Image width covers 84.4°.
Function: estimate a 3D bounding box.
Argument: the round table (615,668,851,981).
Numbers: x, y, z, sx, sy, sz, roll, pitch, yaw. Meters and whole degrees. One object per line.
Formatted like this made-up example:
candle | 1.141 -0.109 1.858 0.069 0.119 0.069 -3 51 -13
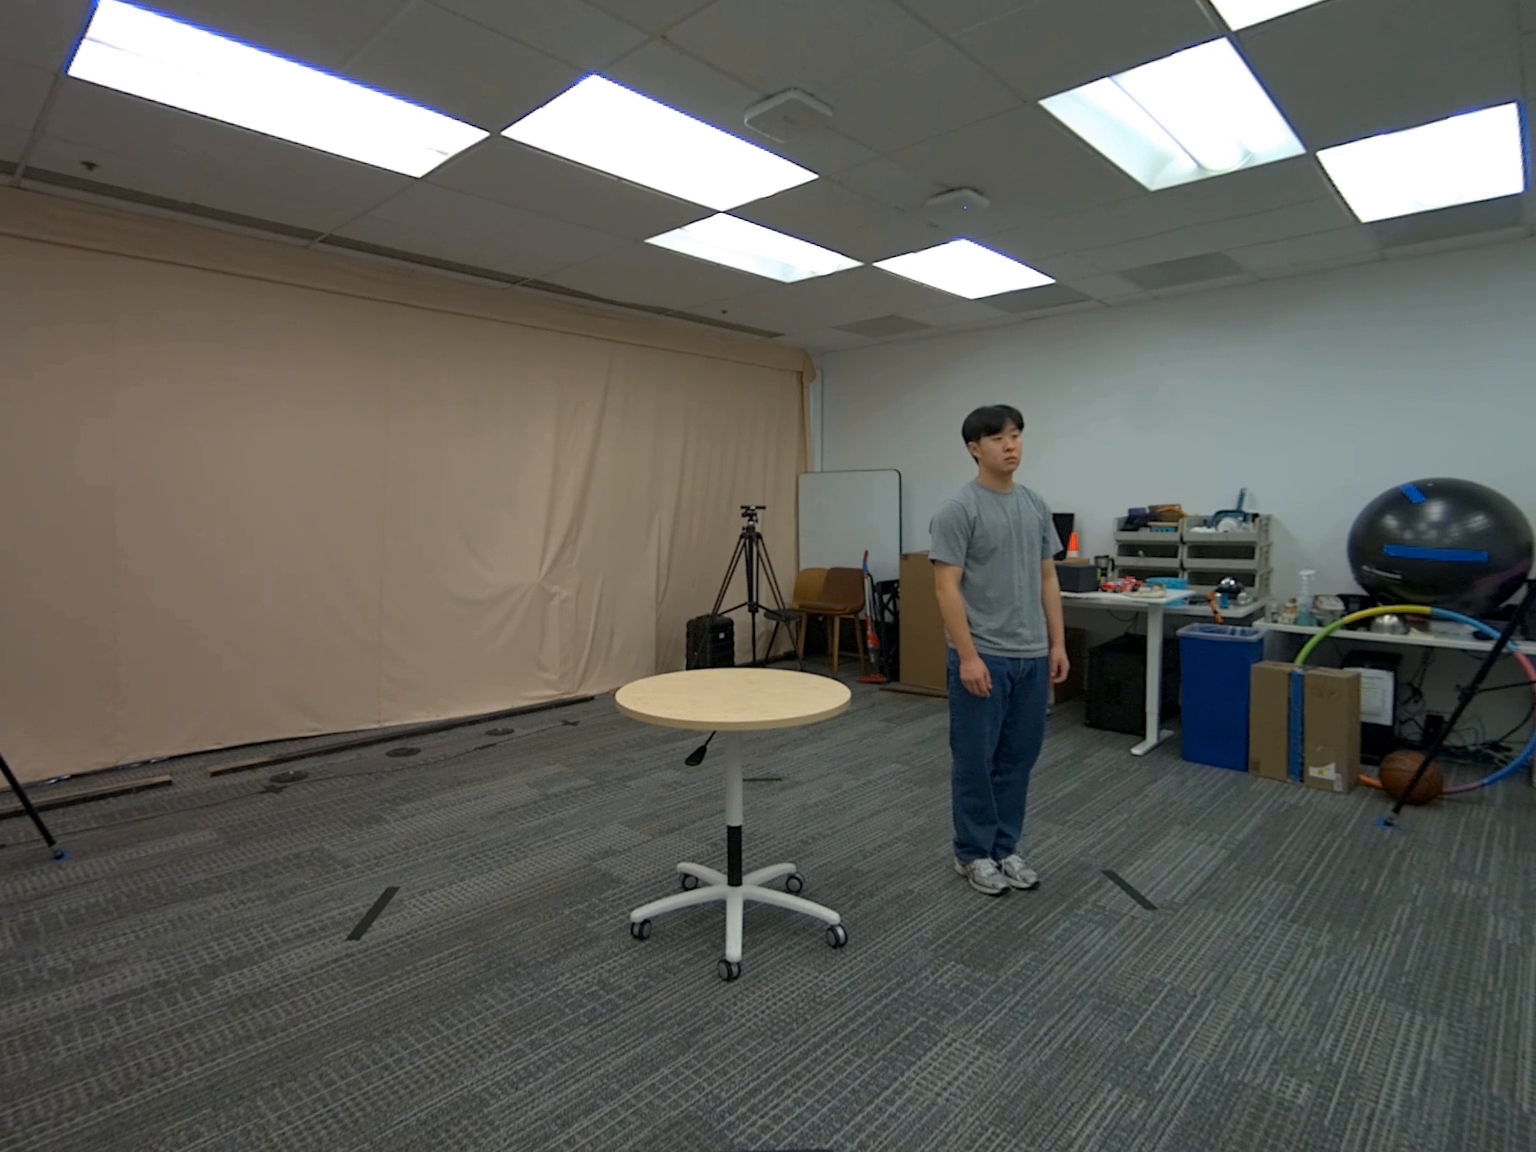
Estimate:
round table | -0.109 0.772 2.777 0.763 0.792 0.767 0 4 -2
